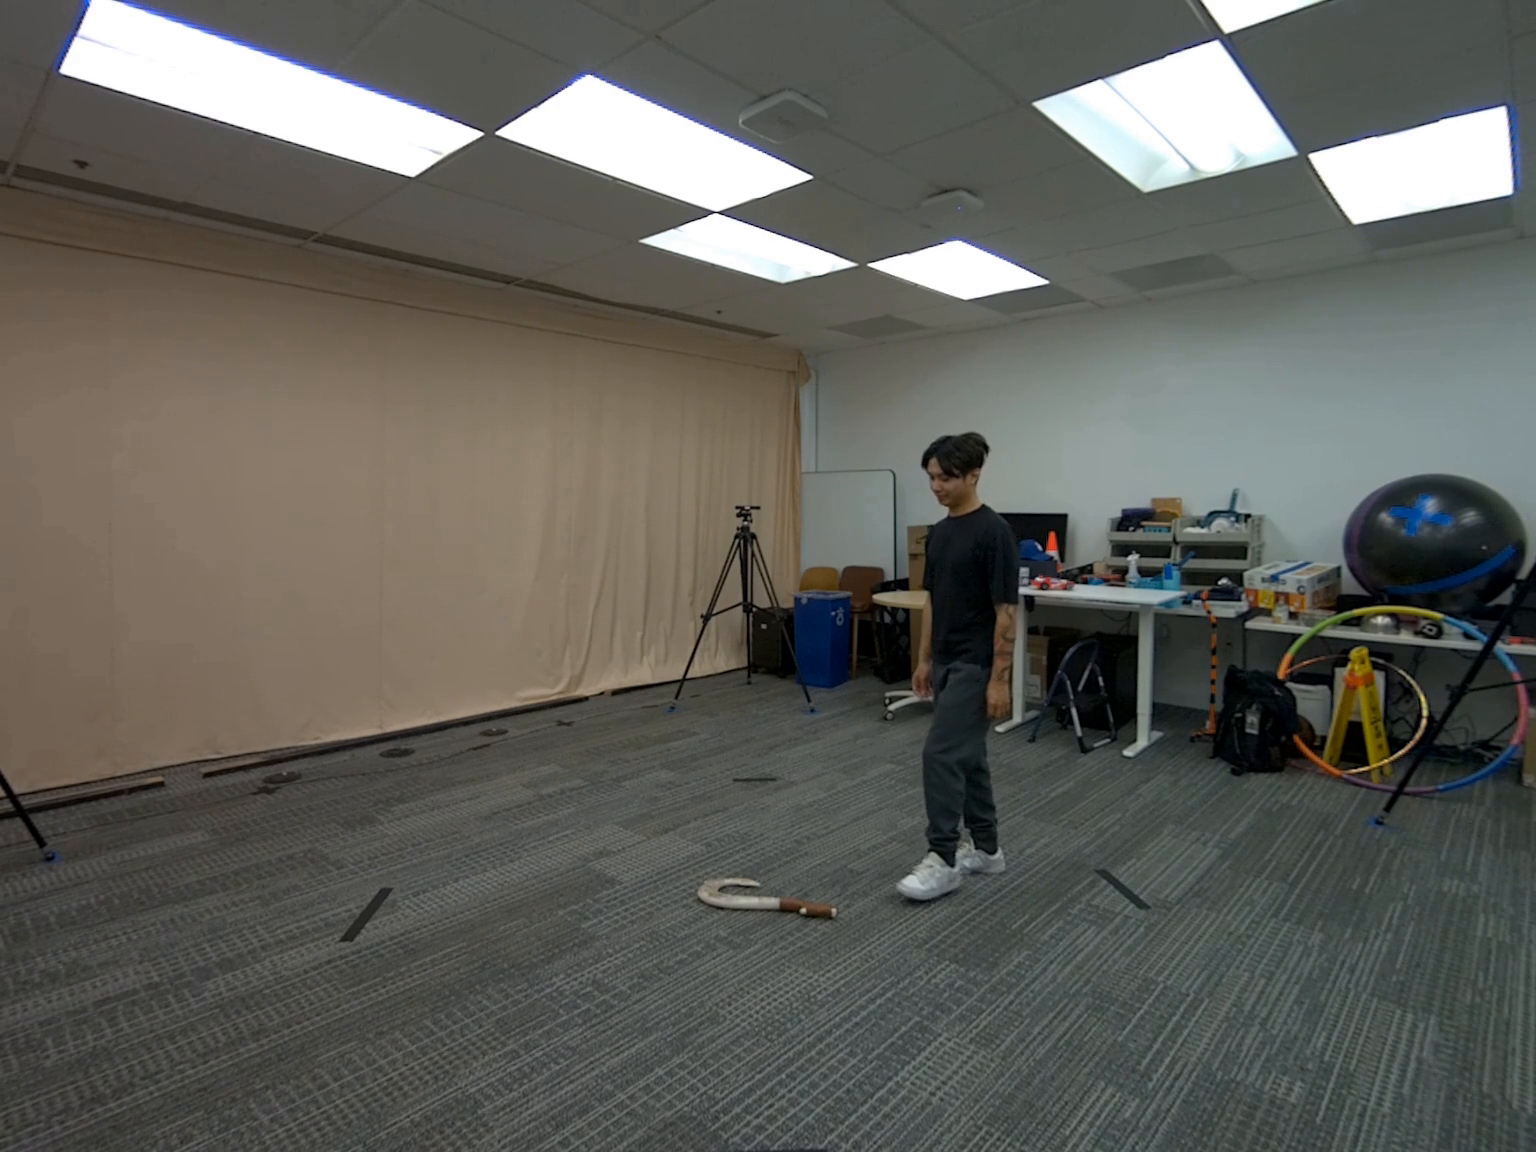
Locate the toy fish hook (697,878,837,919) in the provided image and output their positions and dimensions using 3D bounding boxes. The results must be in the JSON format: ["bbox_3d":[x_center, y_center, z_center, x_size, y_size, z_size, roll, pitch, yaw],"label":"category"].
[{"bbox_3d":[0.007,1.125,2.962,0.516,0.048,0.221,1,7,18],"label":"toy fish hook"}]
